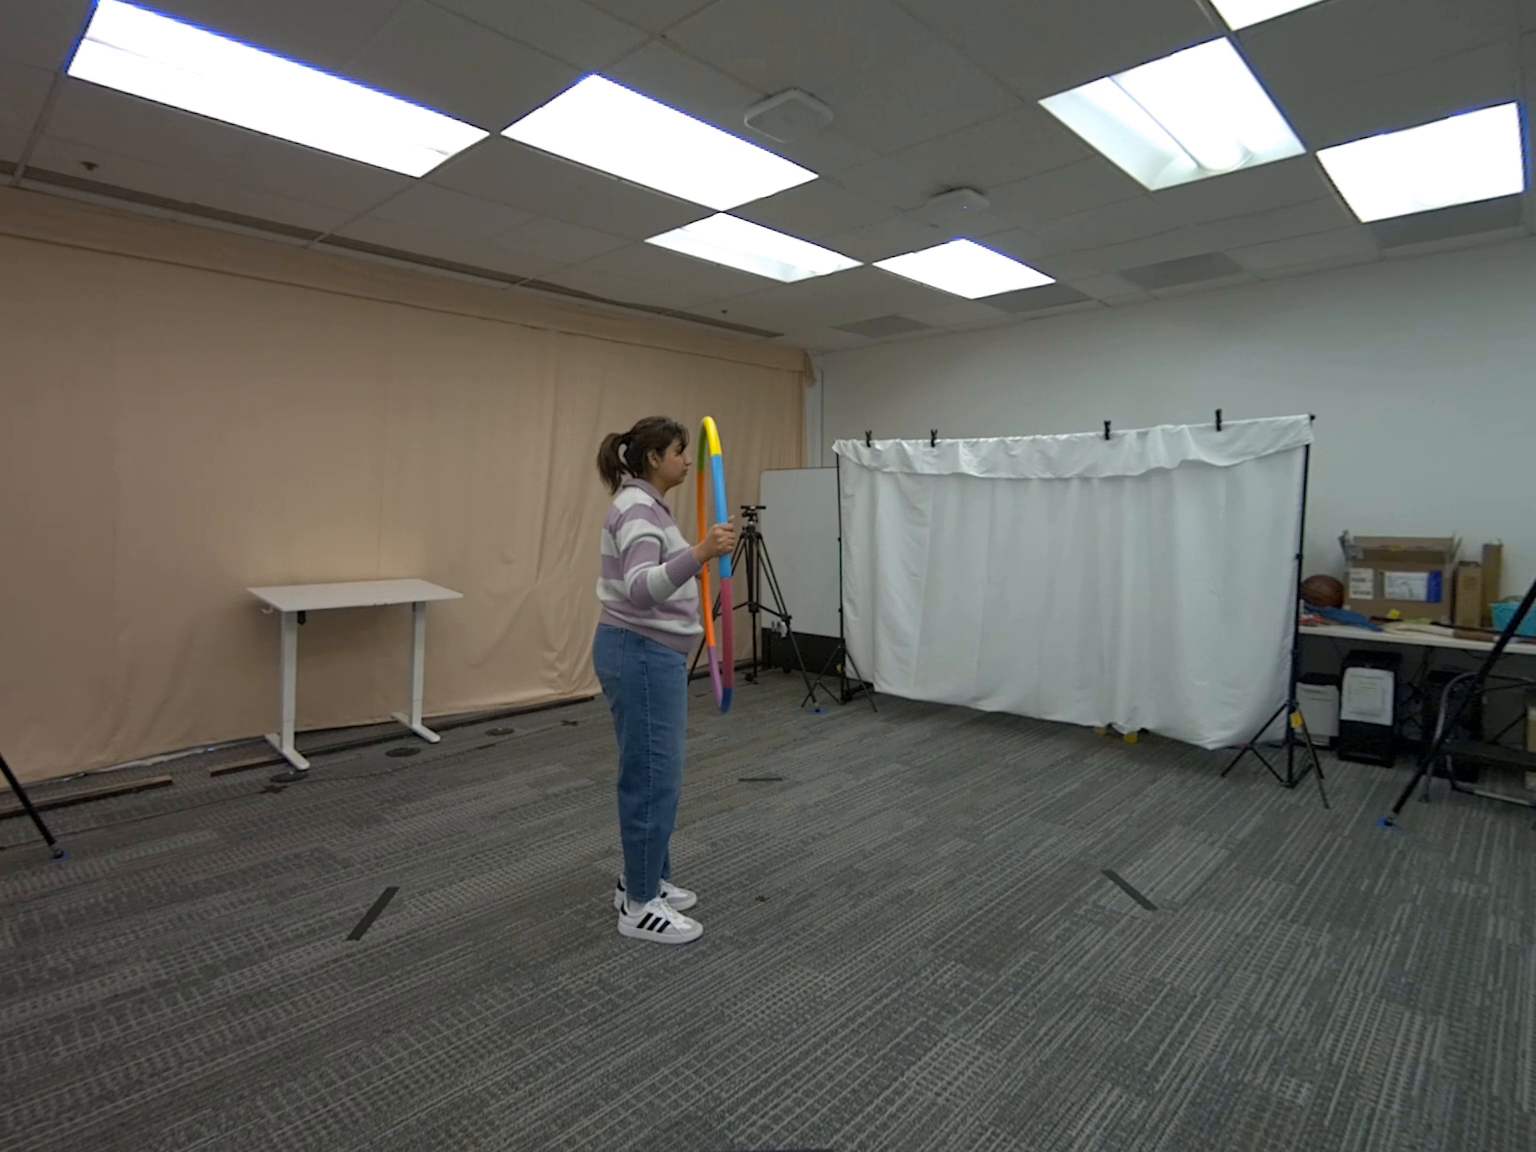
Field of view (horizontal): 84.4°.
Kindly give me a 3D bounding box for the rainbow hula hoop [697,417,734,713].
[{"bbox_3d":[-0.177,-0.035,2.846,0.035,0.976,0.988,-4,4,-8],"label":"rainbow hula hoop"}]
